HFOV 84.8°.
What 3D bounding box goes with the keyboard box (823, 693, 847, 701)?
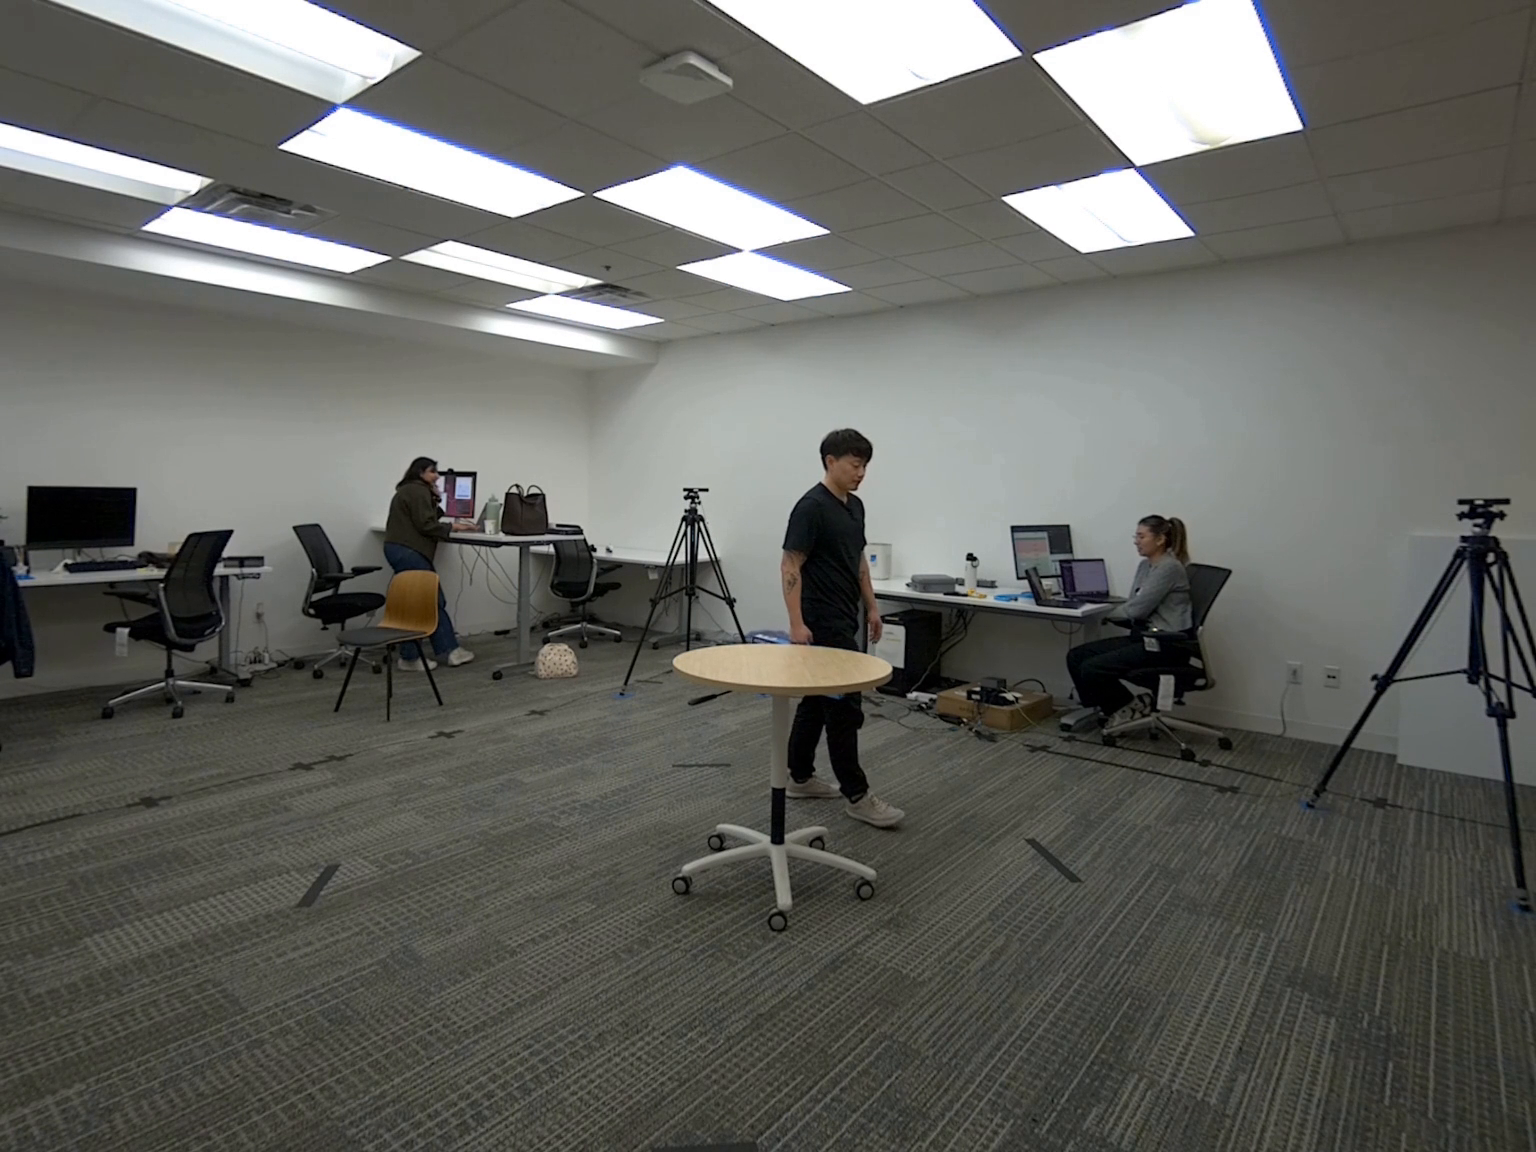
[{"bbox_3d":[0.120,0.373,3.571,0.452,0.175,0.057,11,10,33],"label":"keyboard box"}]
